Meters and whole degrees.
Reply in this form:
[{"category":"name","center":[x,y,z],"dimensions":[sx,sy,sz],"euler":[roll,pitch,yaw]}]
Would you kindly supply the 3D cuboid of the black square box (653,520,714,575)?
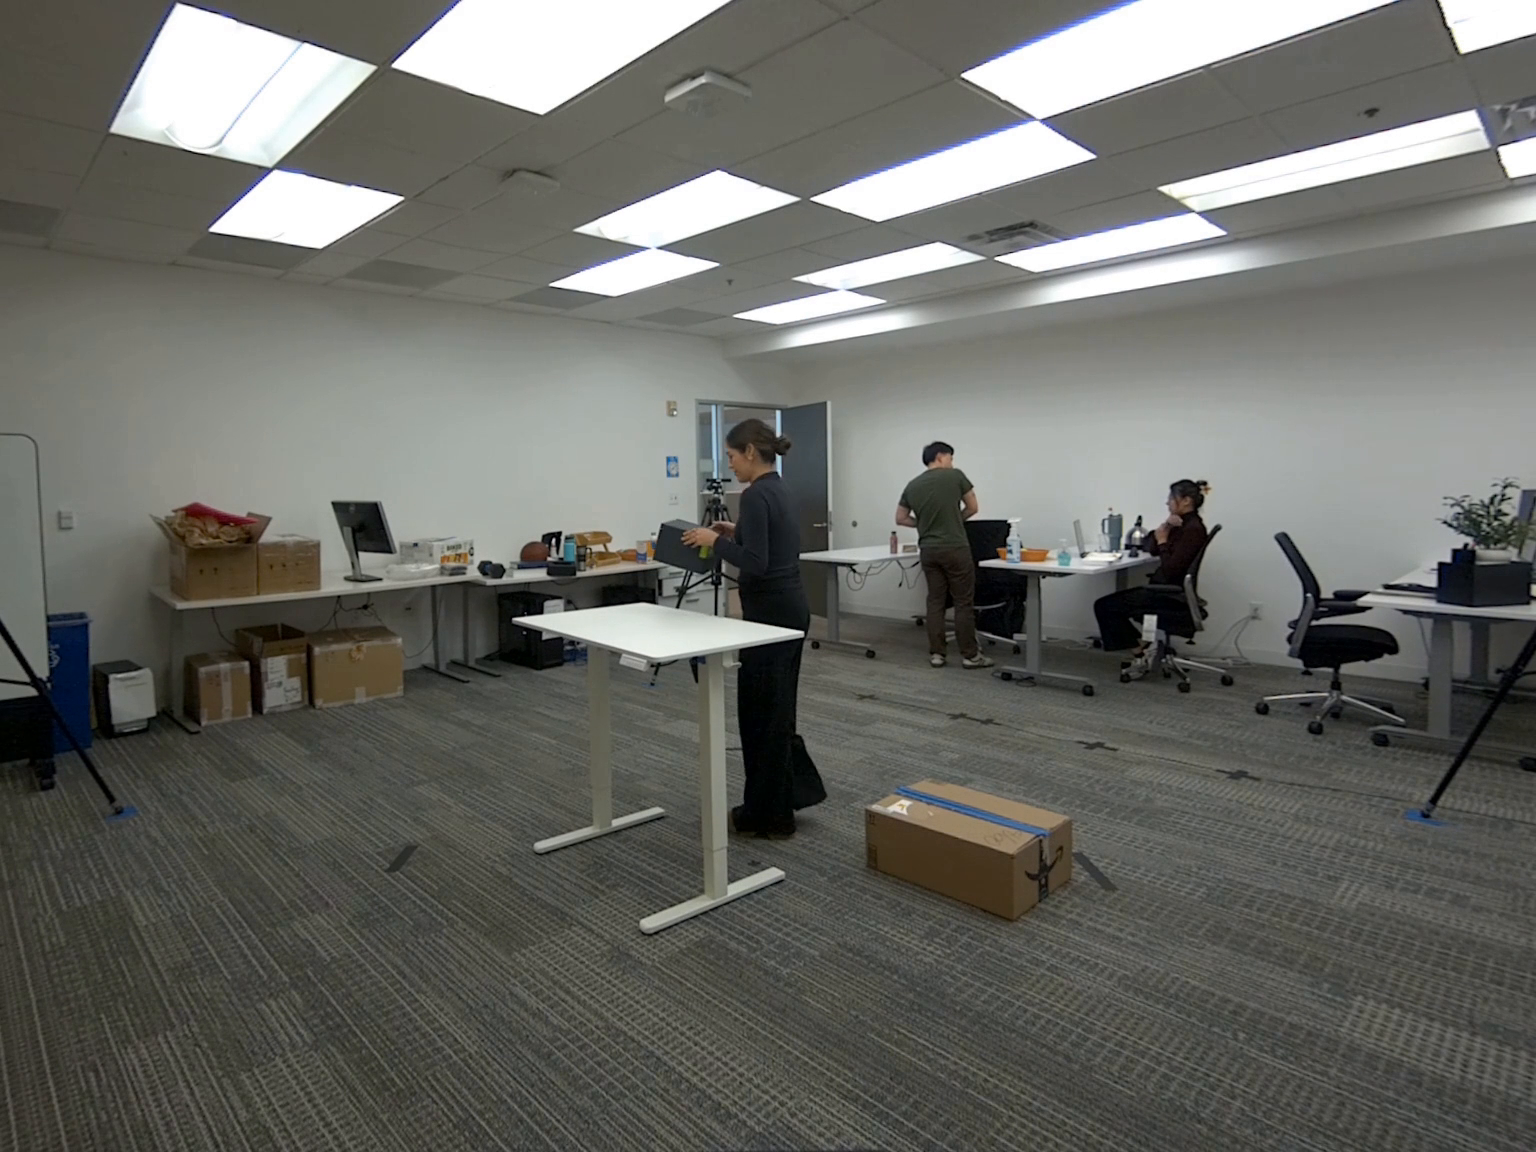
[{"category":"black square box","center":[-0.323,-0.125,3.510],"dimensions":[0.220,0.155,0.226],"euler":[18,10,9]}]
